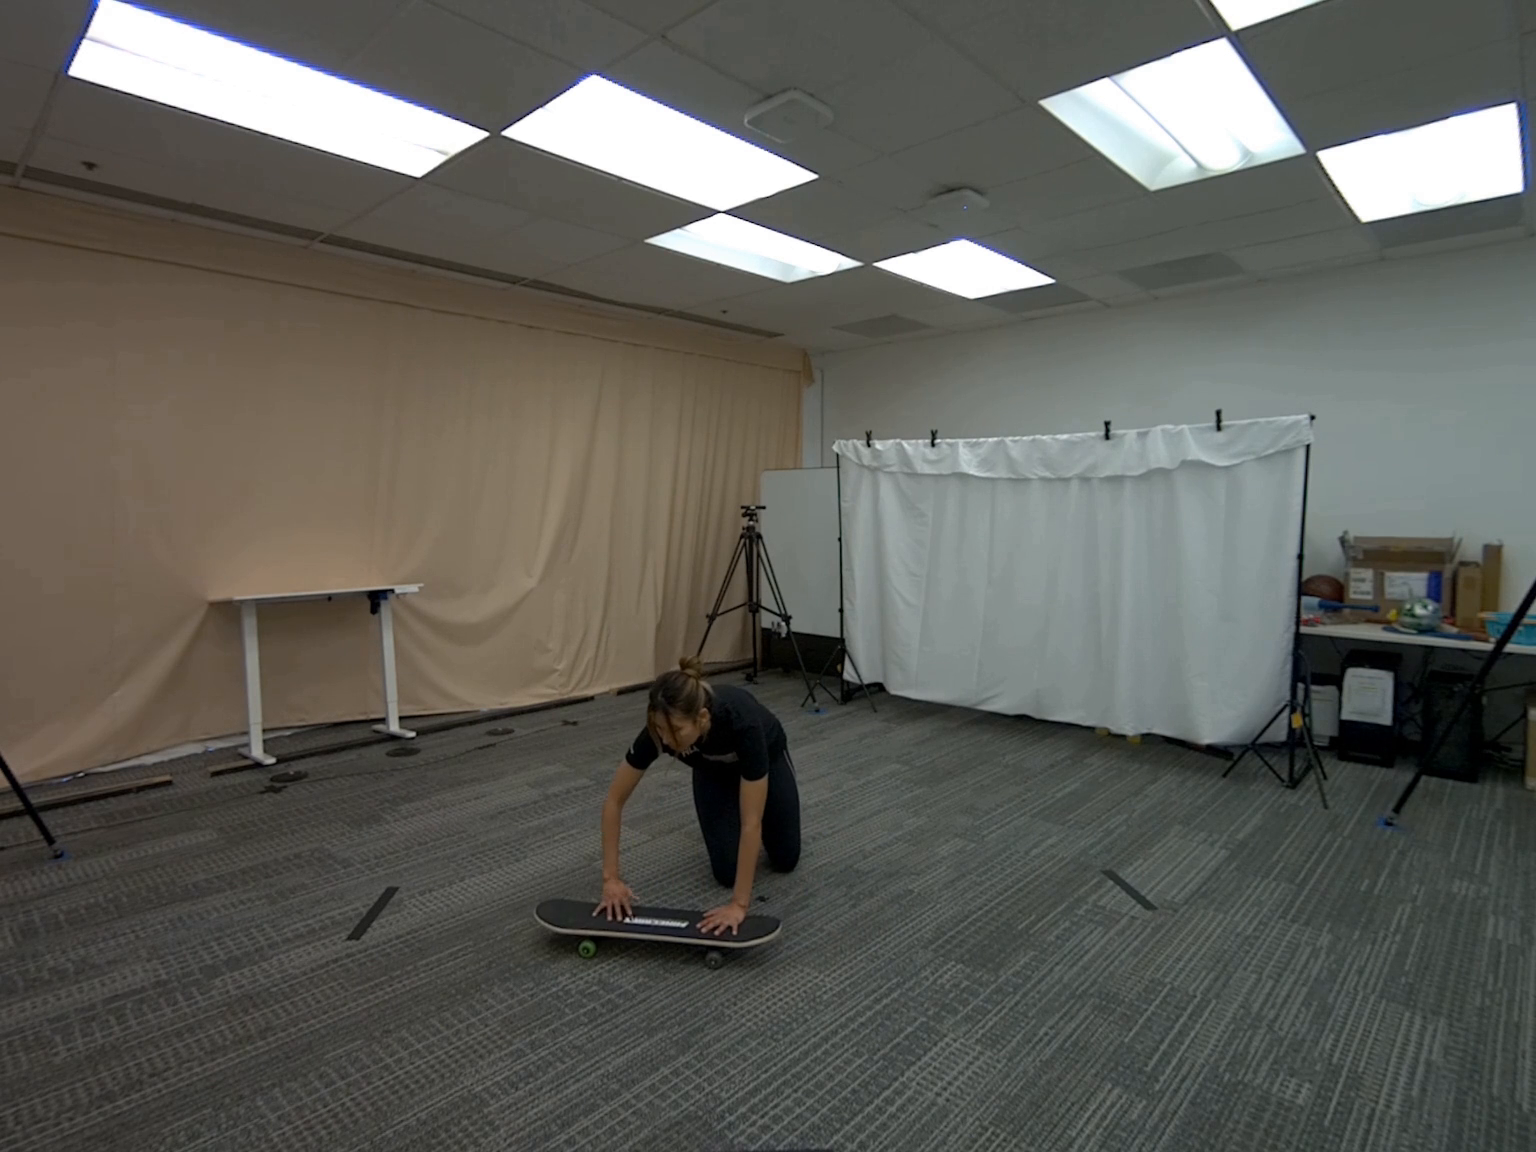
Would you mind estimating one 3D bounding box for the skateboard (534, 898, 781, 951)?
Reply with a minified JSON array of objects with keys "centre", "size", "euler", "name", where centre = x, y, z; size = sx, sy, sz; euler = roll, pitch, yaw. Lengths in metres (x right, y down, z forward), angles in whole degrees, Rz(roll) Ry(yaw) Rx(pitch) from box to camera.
[{"centre":[-0.345,1.114,2.643],"size":[0.794,0.110,0.192],"euler":[0,3,9],"name":"skateboard"}]
